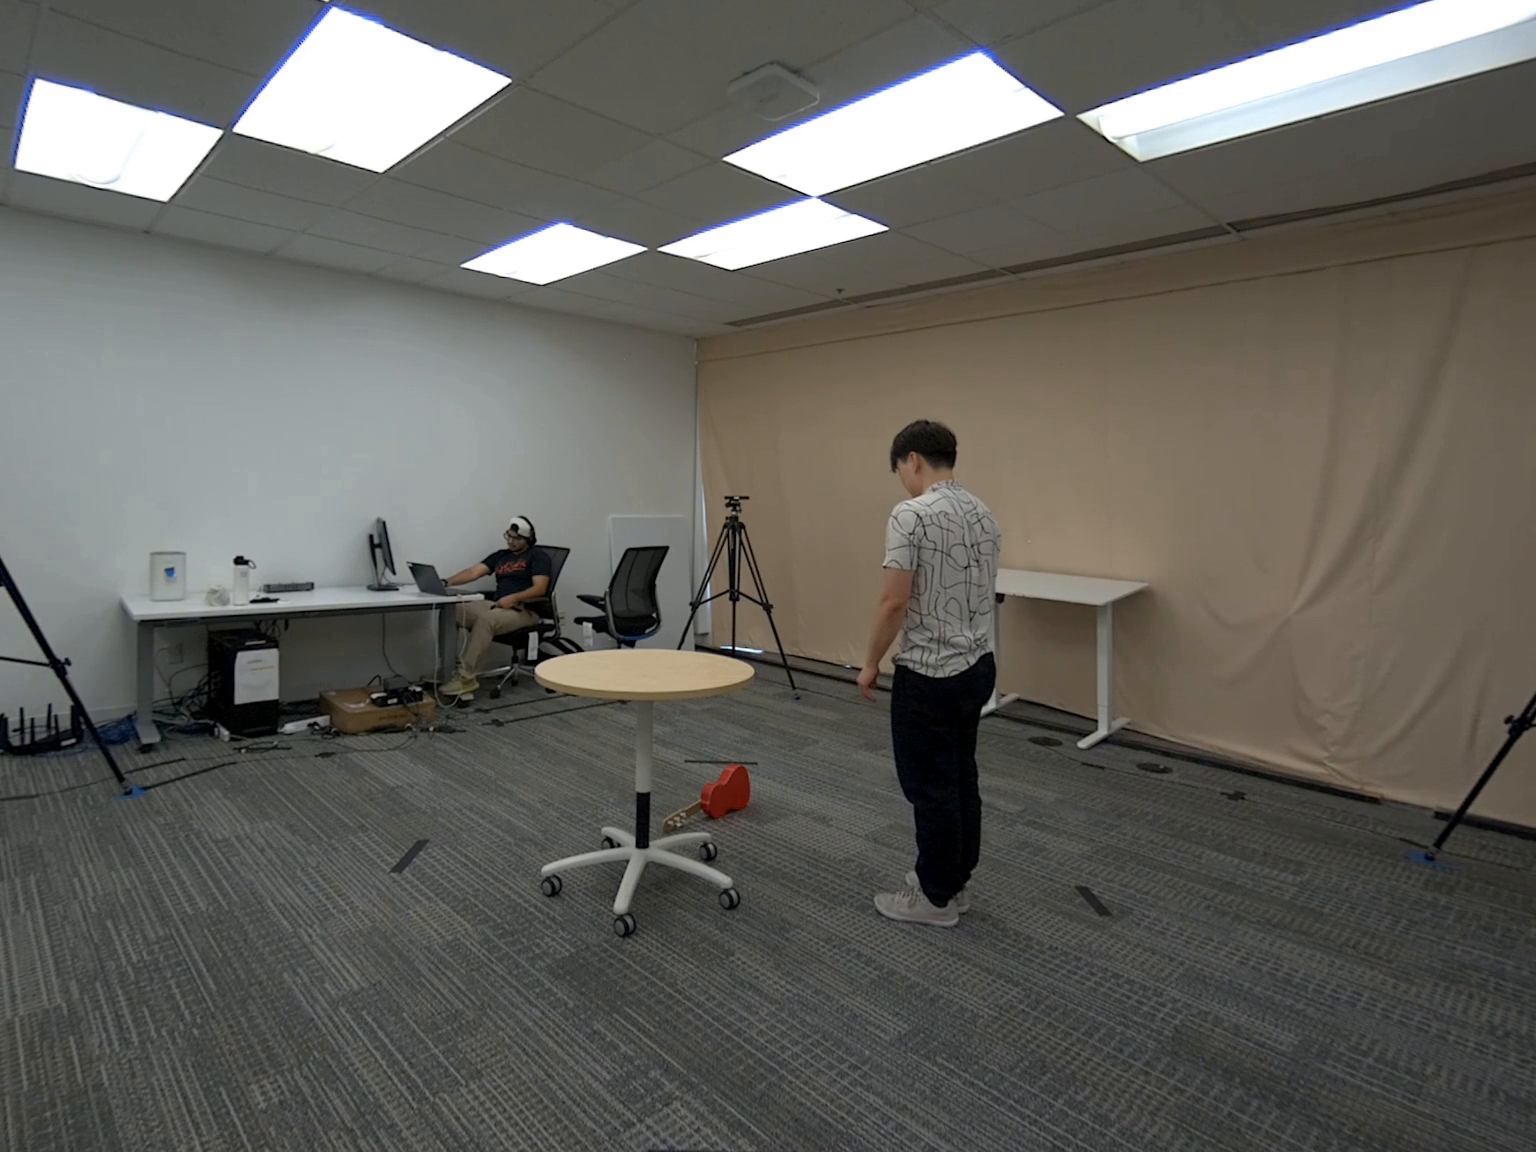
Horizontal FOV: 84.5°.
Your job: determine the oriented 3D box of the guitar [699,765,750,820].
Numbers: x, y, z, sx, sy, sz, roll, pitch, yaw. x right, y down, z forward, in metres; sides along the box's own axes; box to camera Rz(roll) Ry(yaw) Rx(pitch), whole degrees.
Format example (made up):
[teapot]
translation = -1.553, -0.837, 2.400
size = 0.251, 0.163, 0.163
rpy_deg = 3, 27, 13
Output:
[guitar]
translation = -0.257, 1.005, 3.651
size = 0.072, 0.190, 0.493
rpy_deg = -1, 20, 40
